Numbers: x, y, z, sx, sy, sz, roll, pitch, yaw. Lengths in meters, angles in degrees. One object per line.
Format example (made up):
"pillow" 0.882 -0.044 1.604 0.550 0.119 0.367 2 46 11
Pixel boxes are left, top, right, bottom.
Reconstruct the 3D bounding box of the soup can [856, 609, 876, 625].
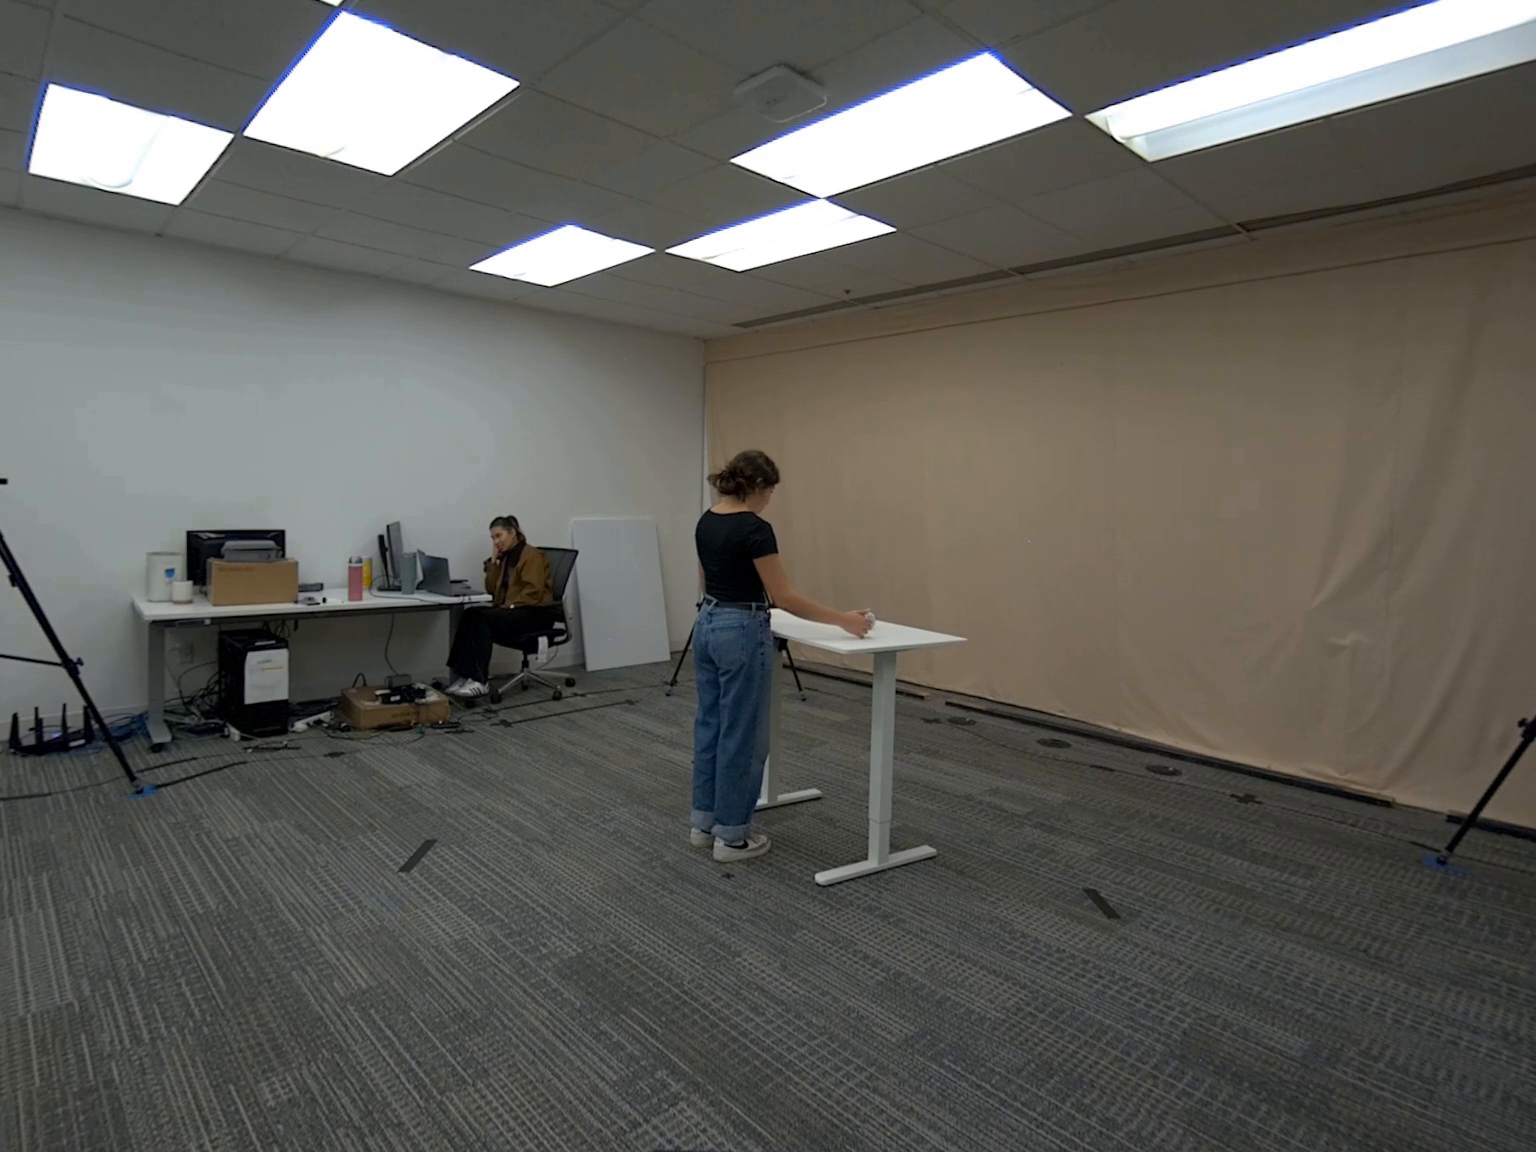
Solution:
"soup can" 0.359 0.179 3.378 0.119 0.067 0.068 -2 5 -25
